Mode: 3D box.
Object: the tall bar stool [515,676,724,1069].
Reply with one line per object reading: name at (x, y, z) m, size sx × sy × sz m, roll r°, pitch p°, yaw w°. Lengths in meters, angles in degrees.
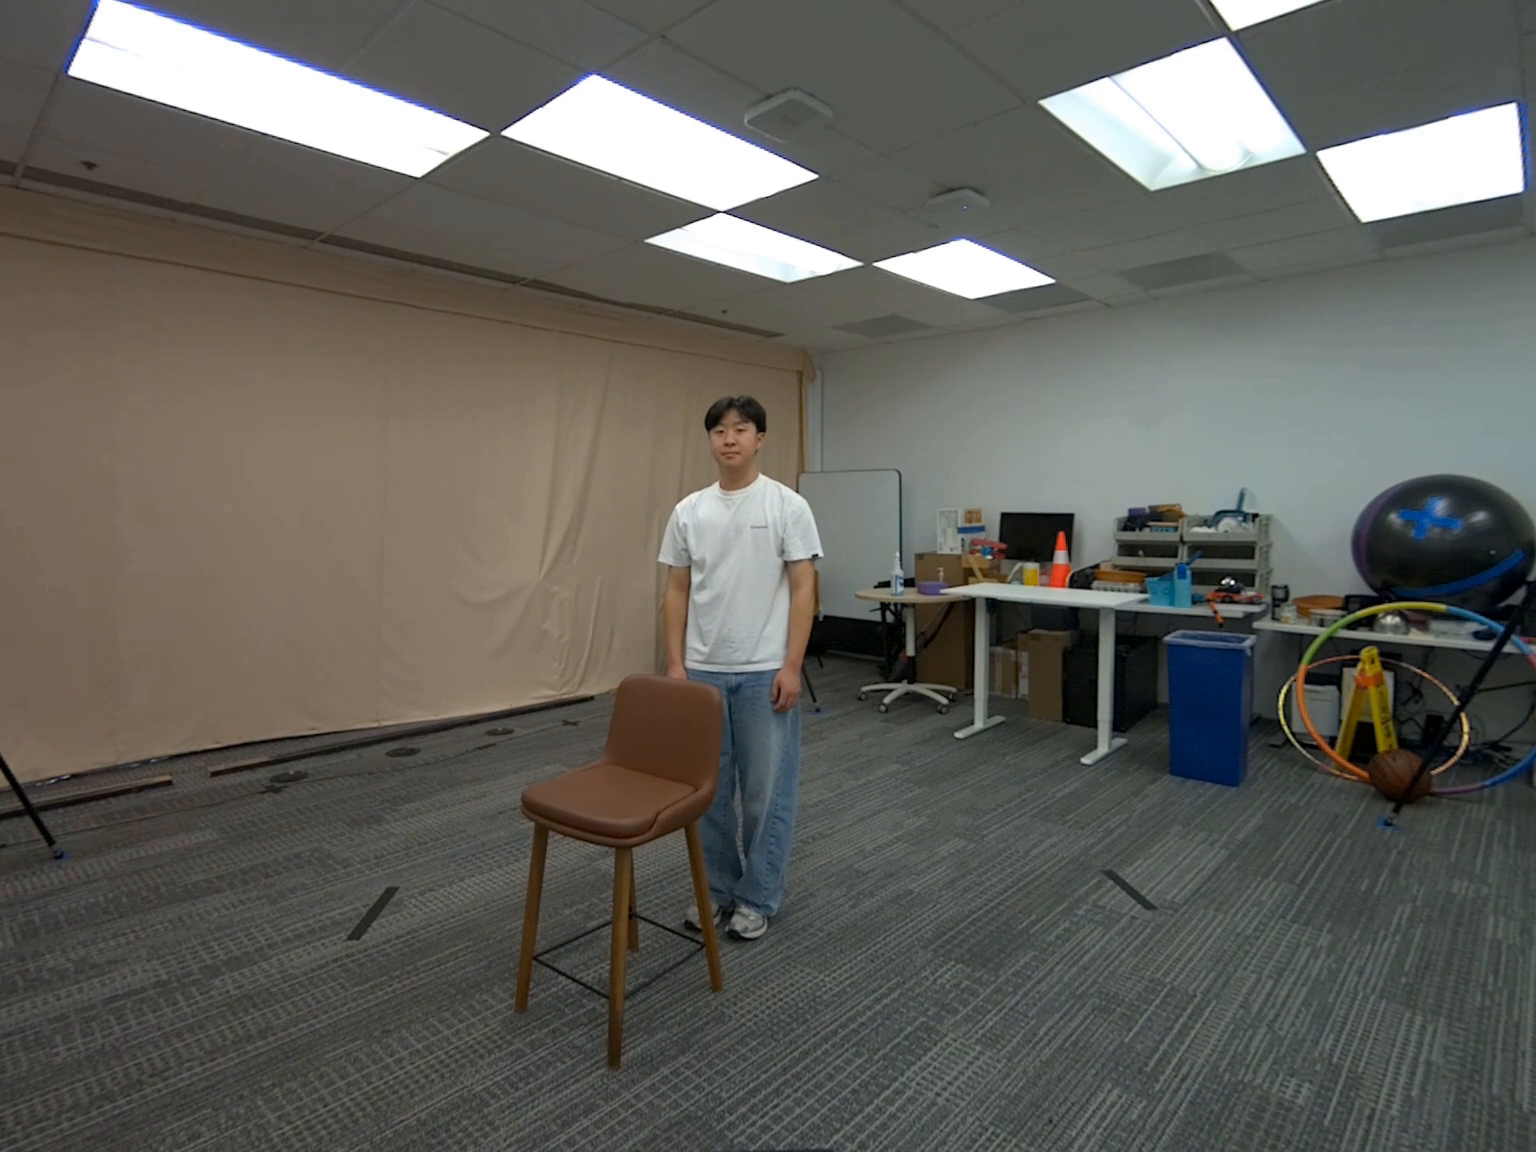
tall bar stool at (-0.402, 0.761, 2.358) m, size 0.471 × 0.889 × 0.453 m, roll 3°, pitch 2°, yaw 39°
